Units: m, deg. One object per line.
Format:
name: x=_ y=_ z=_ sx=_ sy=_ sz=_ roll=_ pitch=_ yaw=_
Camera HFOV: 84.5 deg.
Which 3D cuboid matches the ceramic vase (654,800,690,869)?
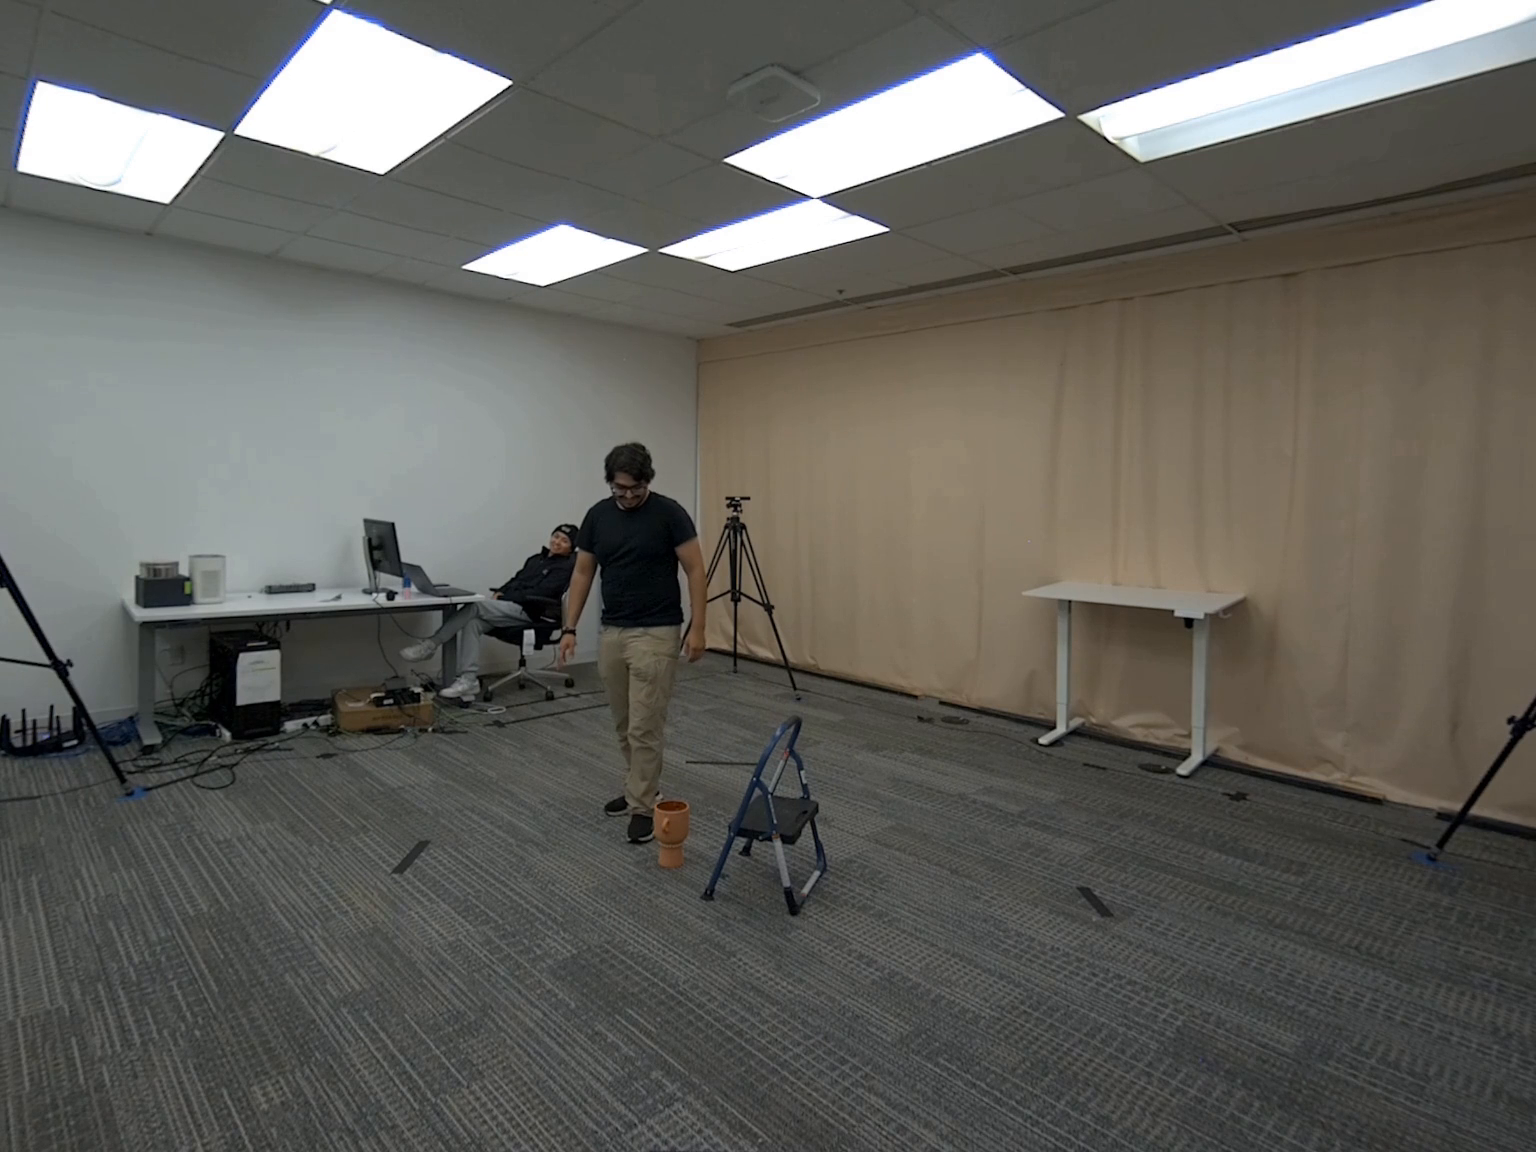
ceramic vase: x=-0.371 y=0.977 z=3.200 sx=0.155 sy=0.219 sz=0.138 roll=-2 pitch=5 yaw=-38
